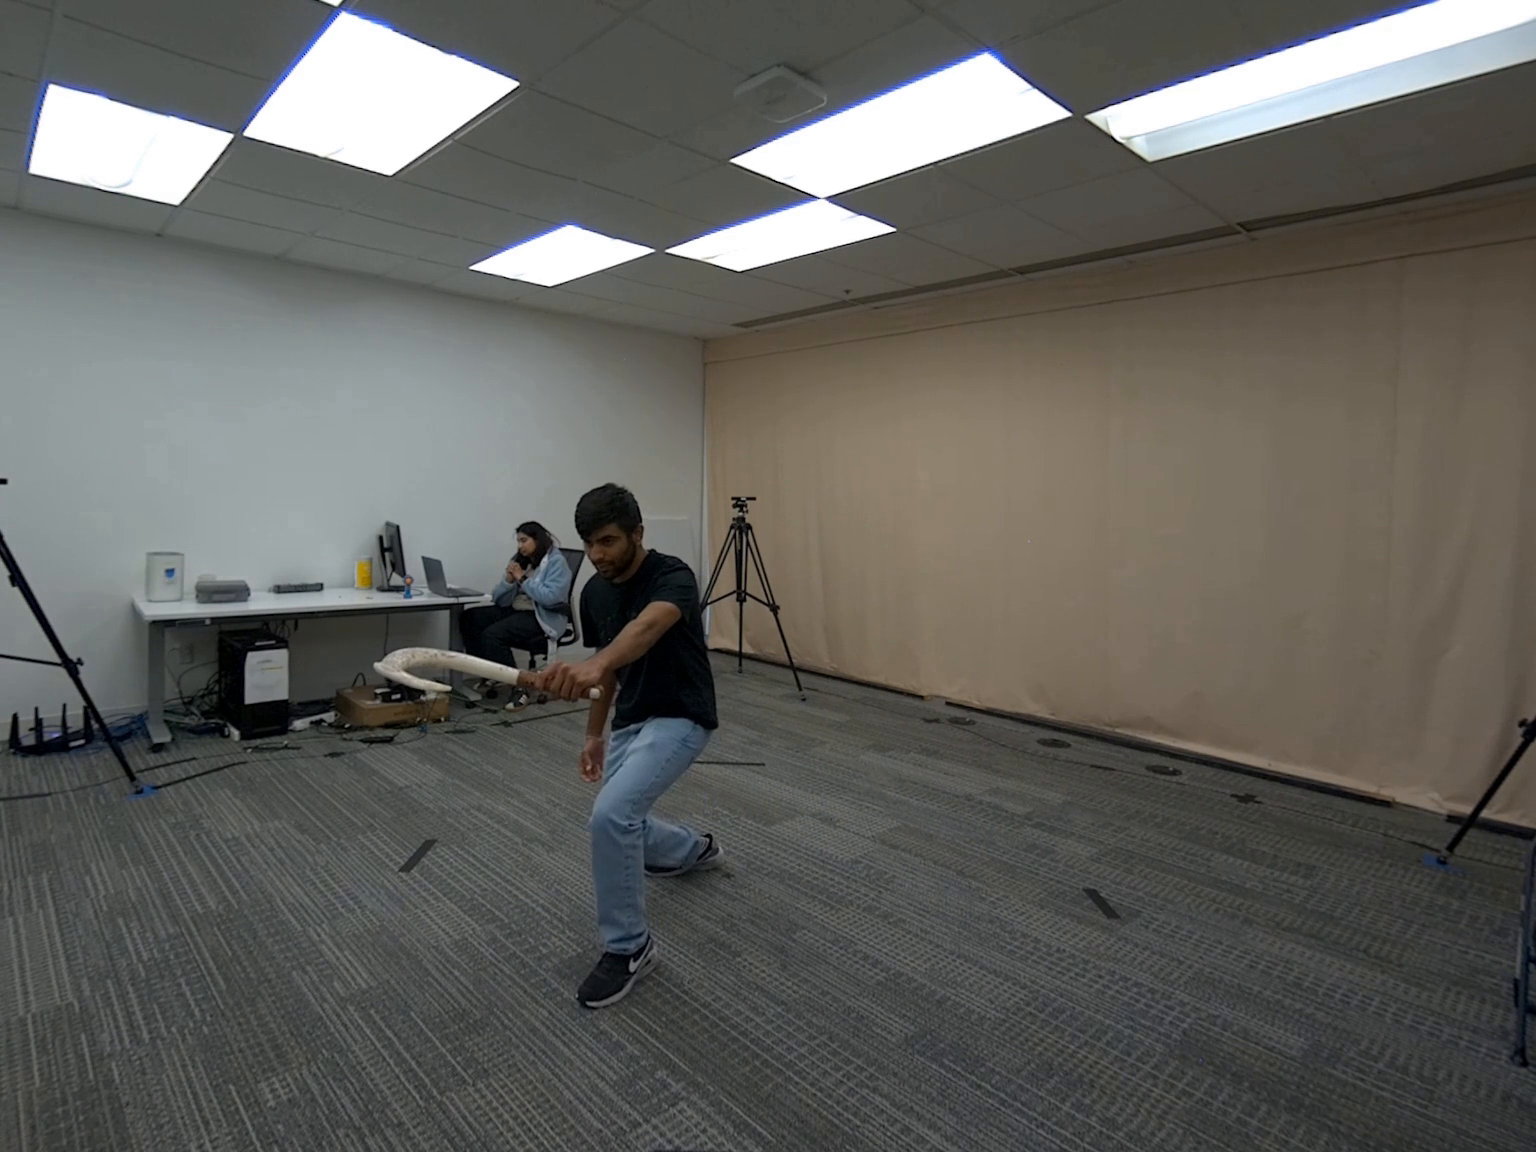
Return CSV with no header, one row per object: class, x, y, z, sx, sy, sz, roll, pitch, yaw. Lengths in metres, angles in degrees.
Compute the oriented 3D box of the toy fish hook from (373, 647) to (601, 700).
toy fish hook,-0.624,0.241,1.901,0.506,0.048,0.227,7,14,-1
